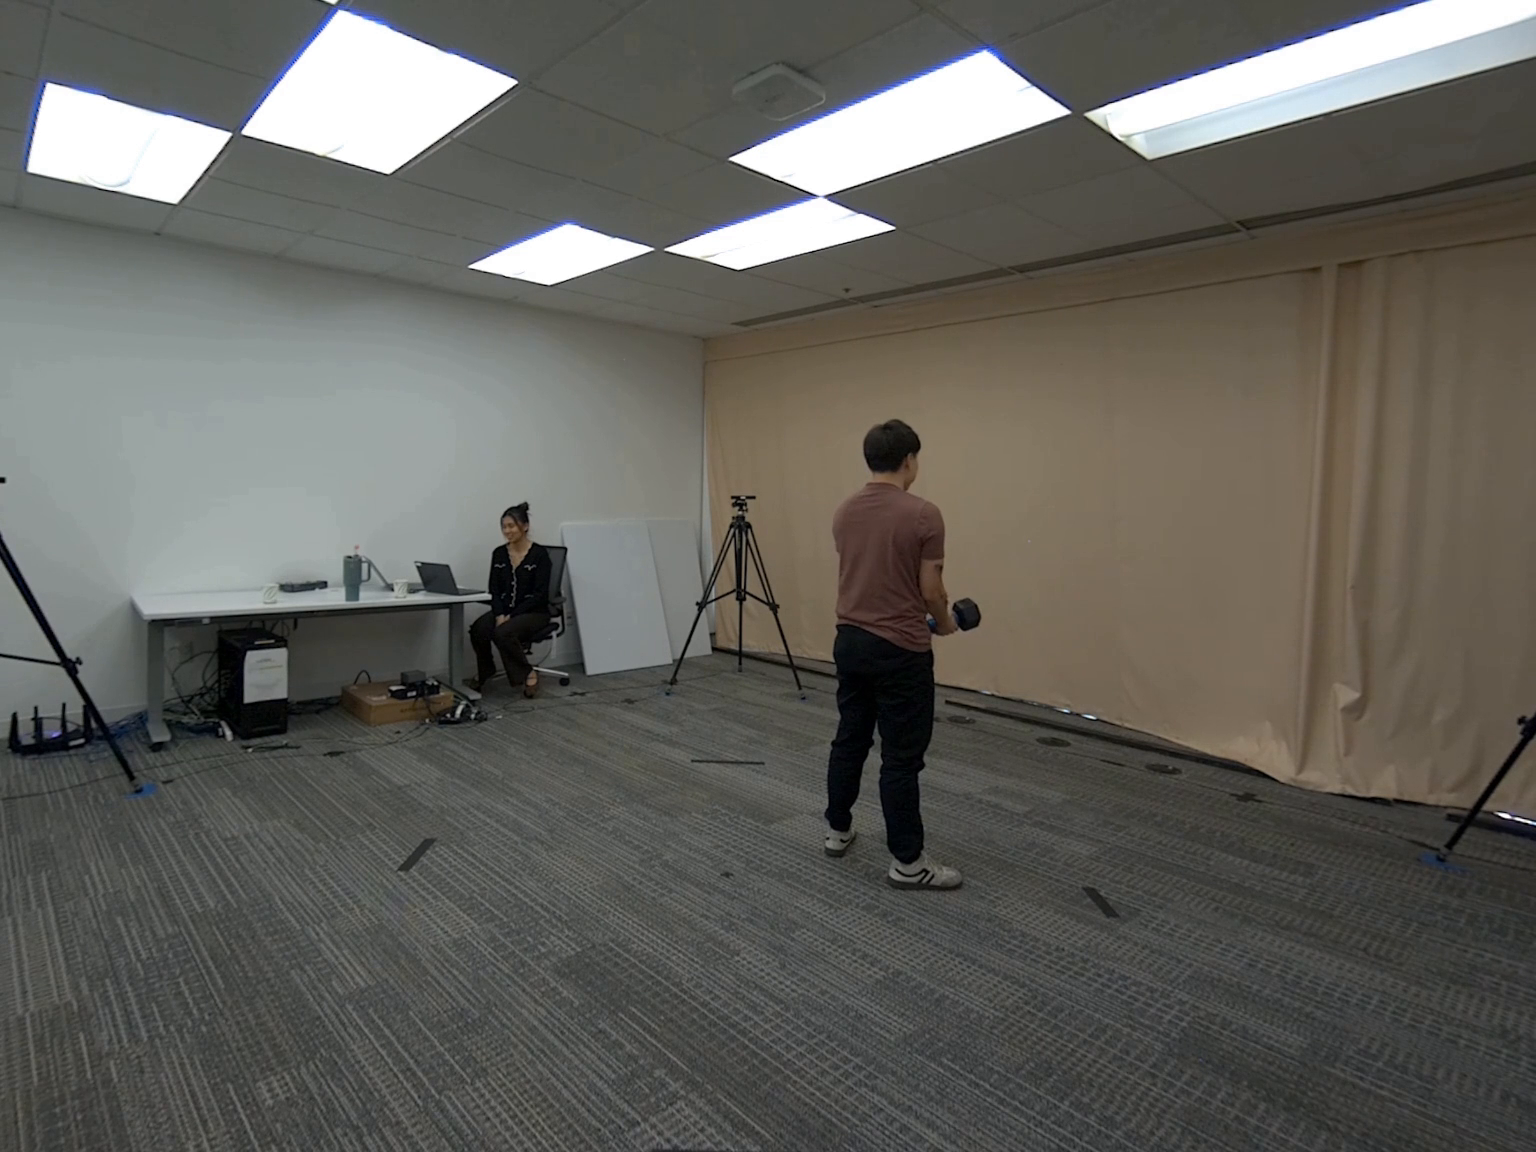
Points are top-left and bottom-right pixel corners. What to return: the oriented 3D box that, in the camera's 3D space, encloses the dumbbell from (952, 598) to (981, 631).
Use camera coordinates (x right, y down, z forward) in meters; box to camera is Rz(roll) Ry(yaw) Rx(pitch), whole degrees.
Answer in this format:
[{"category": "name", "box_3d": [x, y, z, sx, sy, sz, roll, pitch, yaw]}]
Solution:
[{"category": "dumbbell", "box_3d": [0.676, 0.180, 3.306, 0.292, 0.106, 0.126, -19, 28, -10]}]
